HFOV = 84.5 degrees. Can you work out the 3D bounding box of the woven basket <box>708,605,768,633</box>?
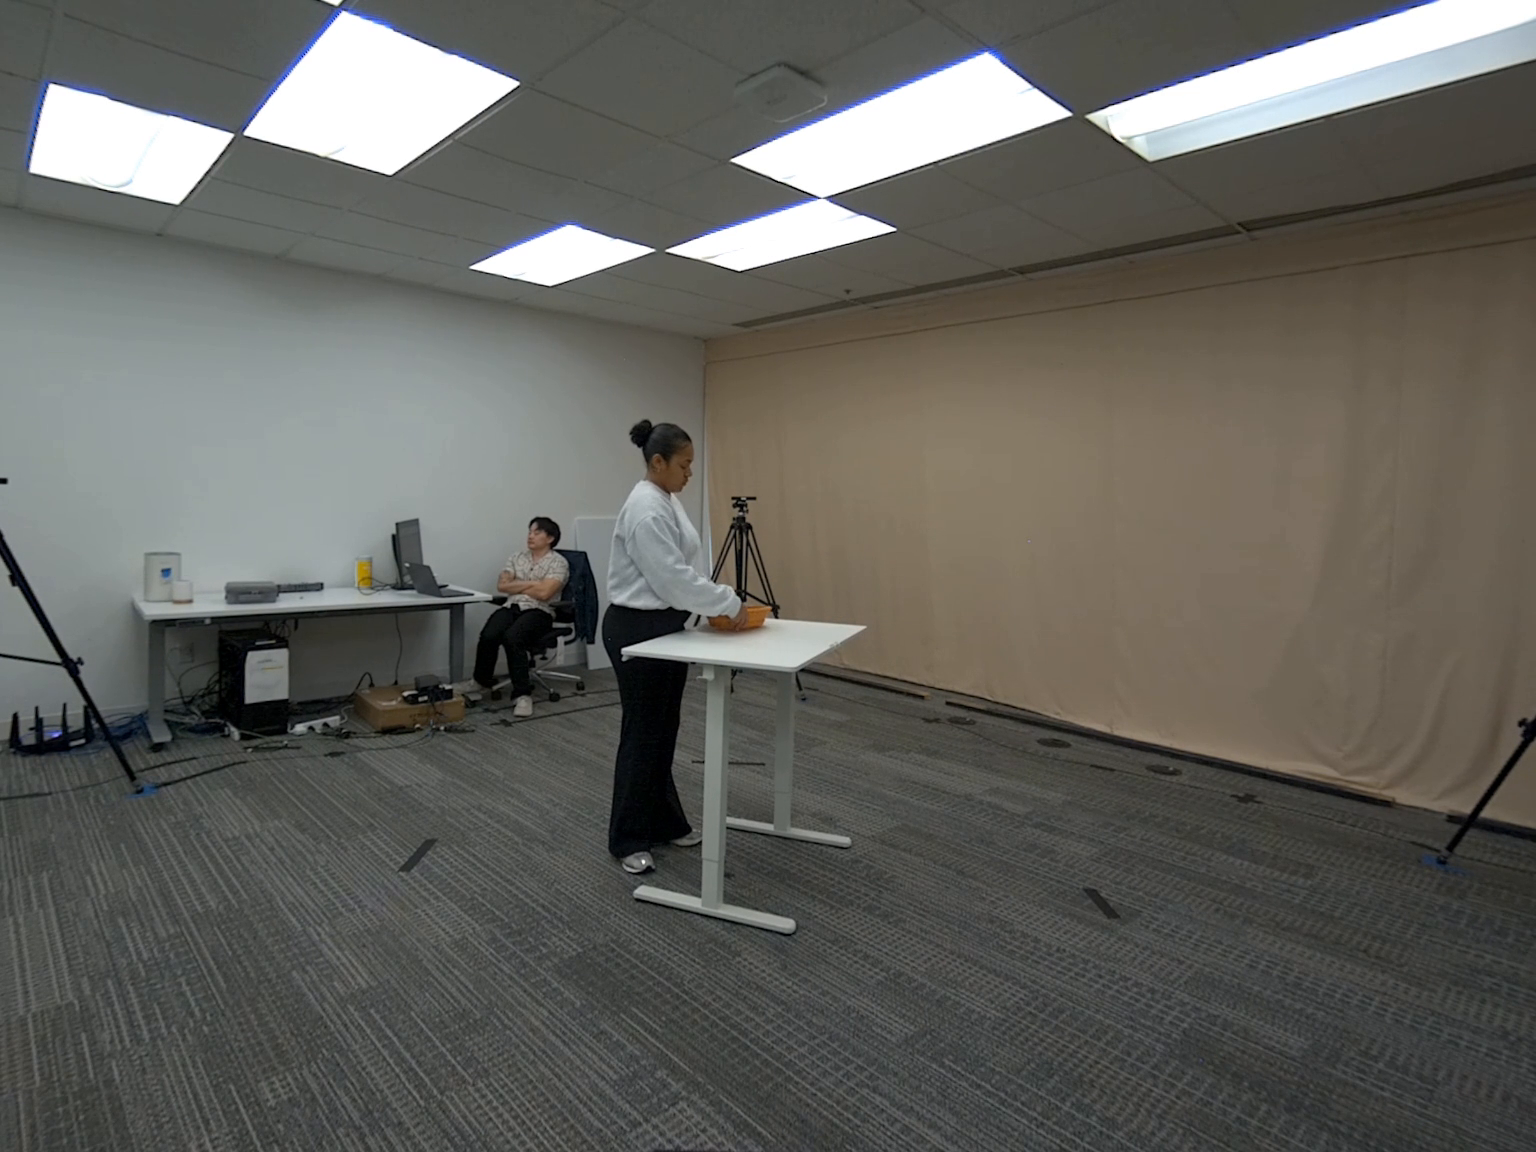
[{"bbox_3d":[-0.143,0.164,3.313,0.256,0.073,0.345,1,2,20],"label":"woven basket"}]
